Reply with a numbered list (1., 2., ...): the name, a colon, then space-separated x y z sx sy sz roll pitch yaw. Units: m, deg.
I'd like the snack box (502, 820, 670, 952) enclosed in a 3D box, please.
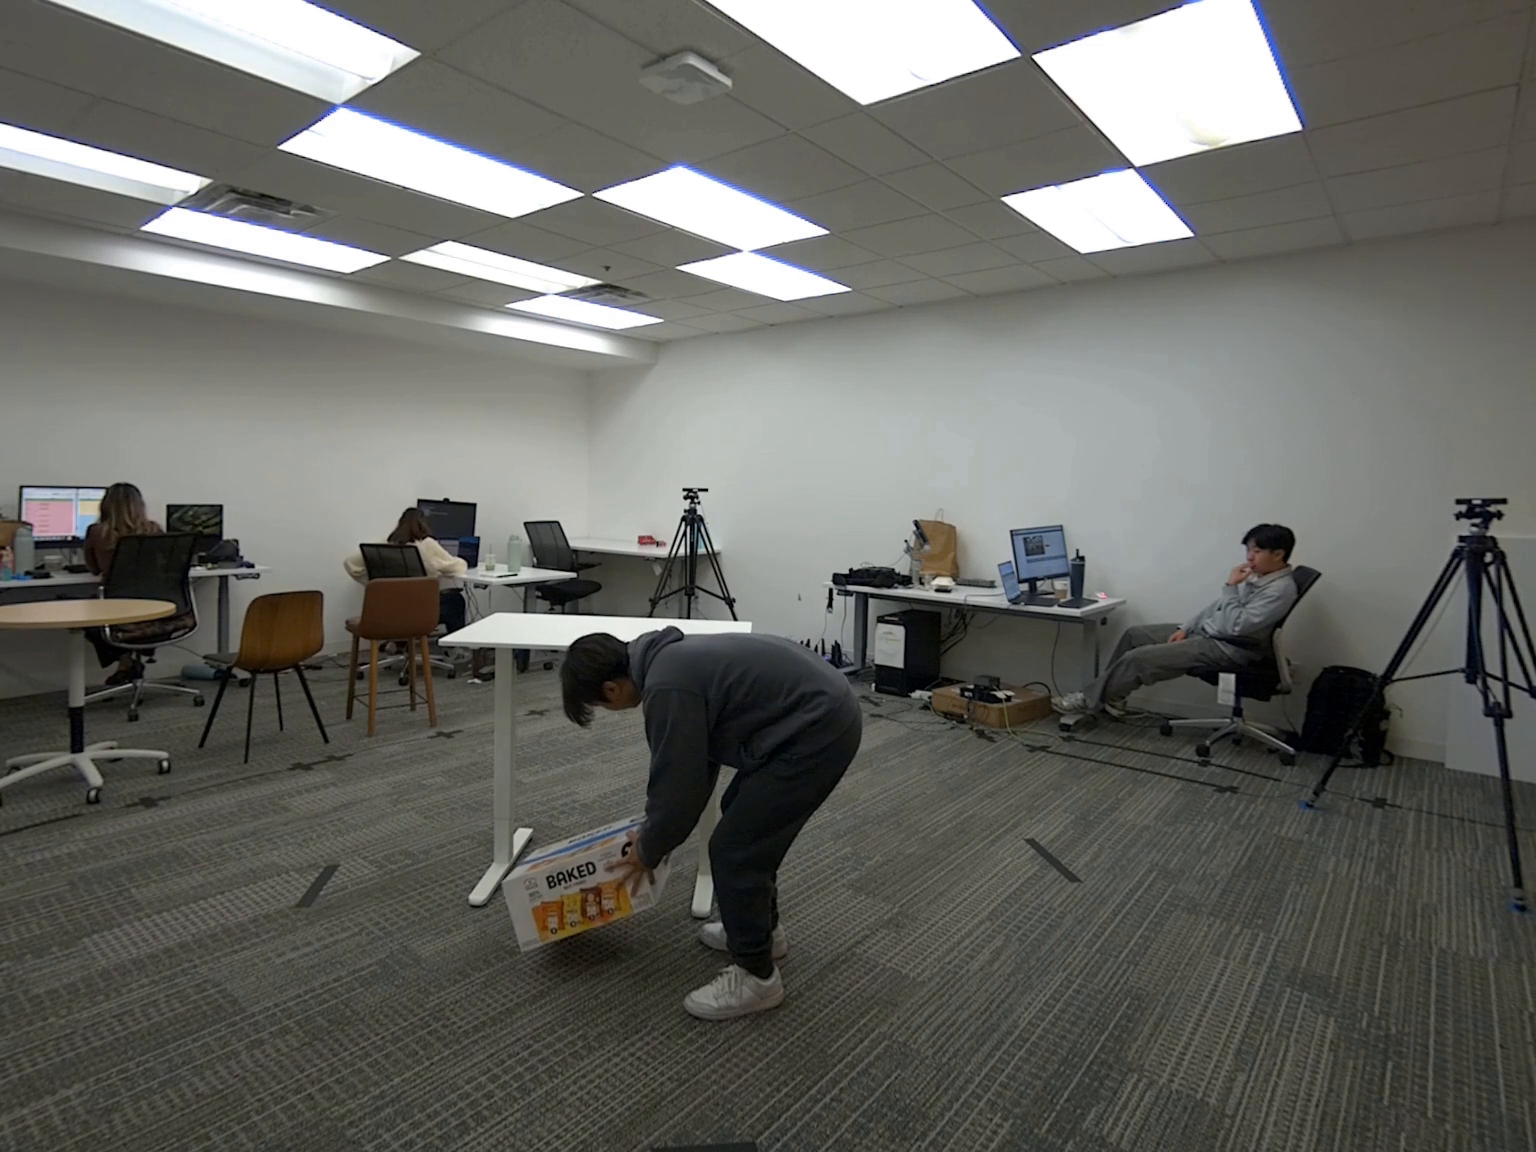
1. snack box: -0.541 0.906 2.563 0.405 0.207 0.338 -20 -4 0
